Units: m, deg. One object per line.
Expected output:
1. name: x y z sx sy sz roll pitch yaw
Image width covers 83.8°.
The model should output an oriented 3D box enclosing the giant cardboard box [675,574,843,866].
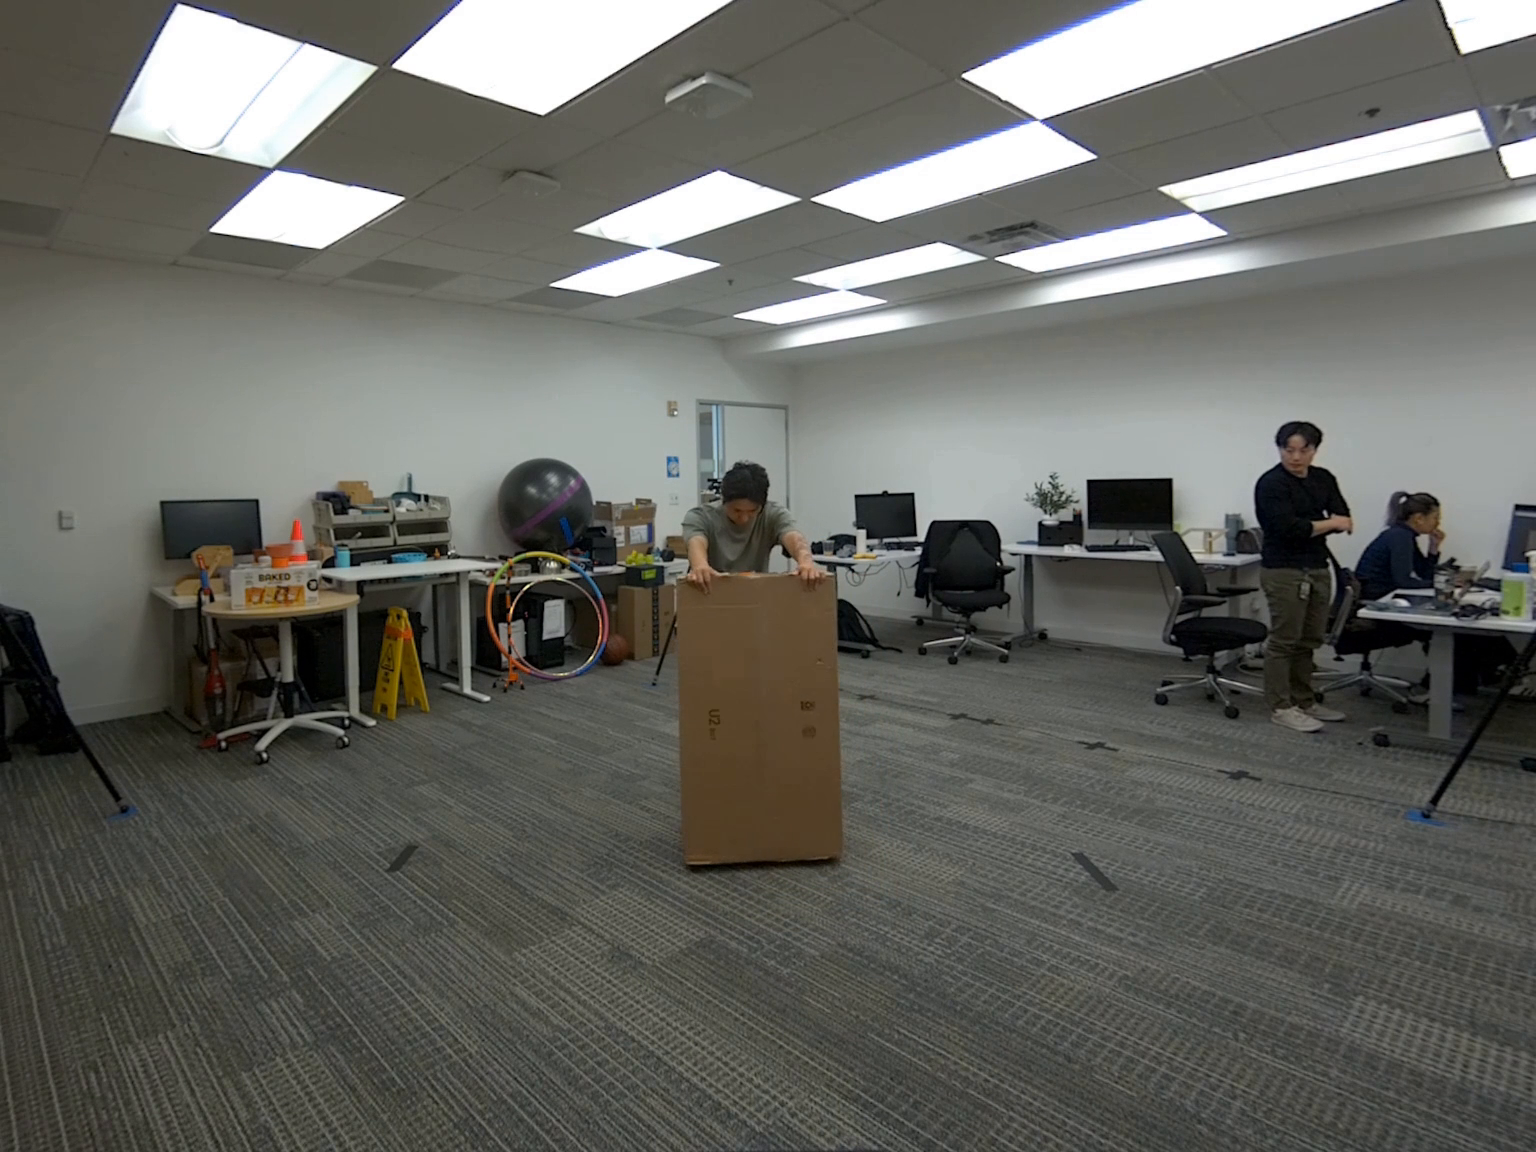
1. giant cardboard box: -0.045 0.502 3.274 0.575 1.027 0.428 -1 -1 -6
